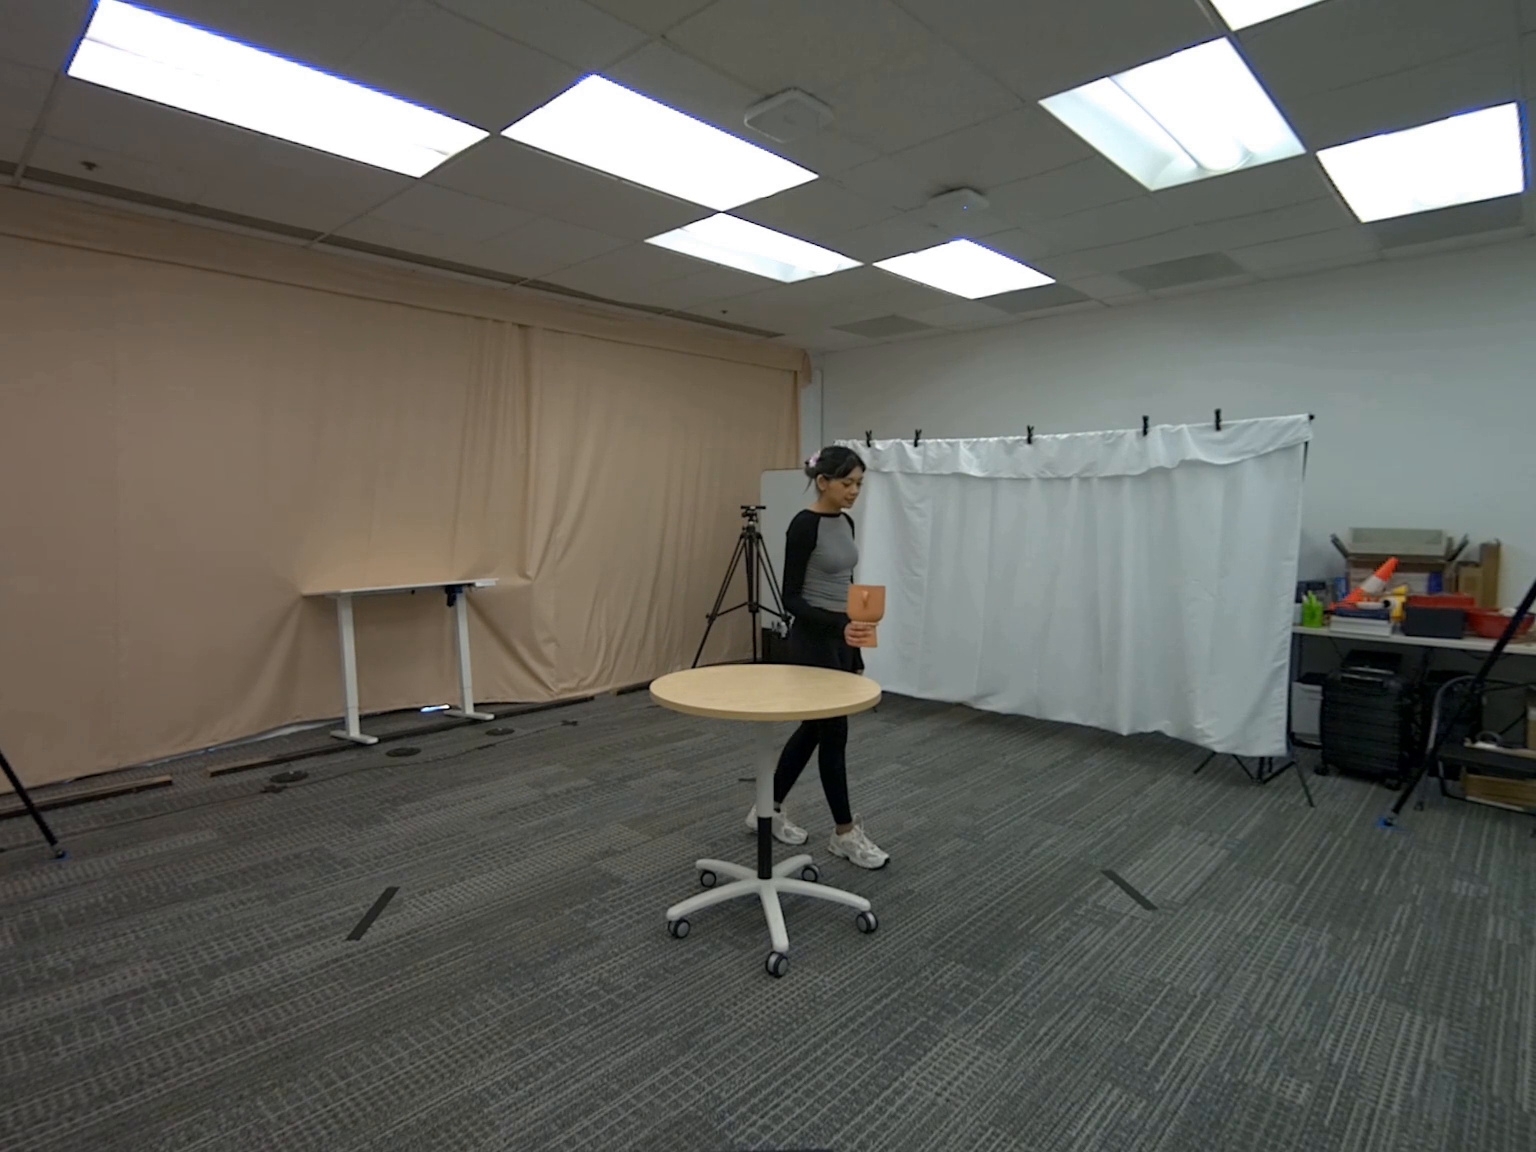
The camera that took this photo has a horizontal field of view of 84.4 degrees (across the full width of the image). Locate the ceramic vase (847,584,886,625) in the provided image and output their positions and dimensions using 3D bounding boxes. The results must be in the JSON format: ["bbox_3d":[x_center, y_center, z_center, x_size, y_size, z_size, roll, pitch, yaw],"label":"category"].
[{"bbox_3d":[0.351,0.141,3.022,0.154,0.220,0.139,3,0,-39],"label":"ceramic vase"}]
